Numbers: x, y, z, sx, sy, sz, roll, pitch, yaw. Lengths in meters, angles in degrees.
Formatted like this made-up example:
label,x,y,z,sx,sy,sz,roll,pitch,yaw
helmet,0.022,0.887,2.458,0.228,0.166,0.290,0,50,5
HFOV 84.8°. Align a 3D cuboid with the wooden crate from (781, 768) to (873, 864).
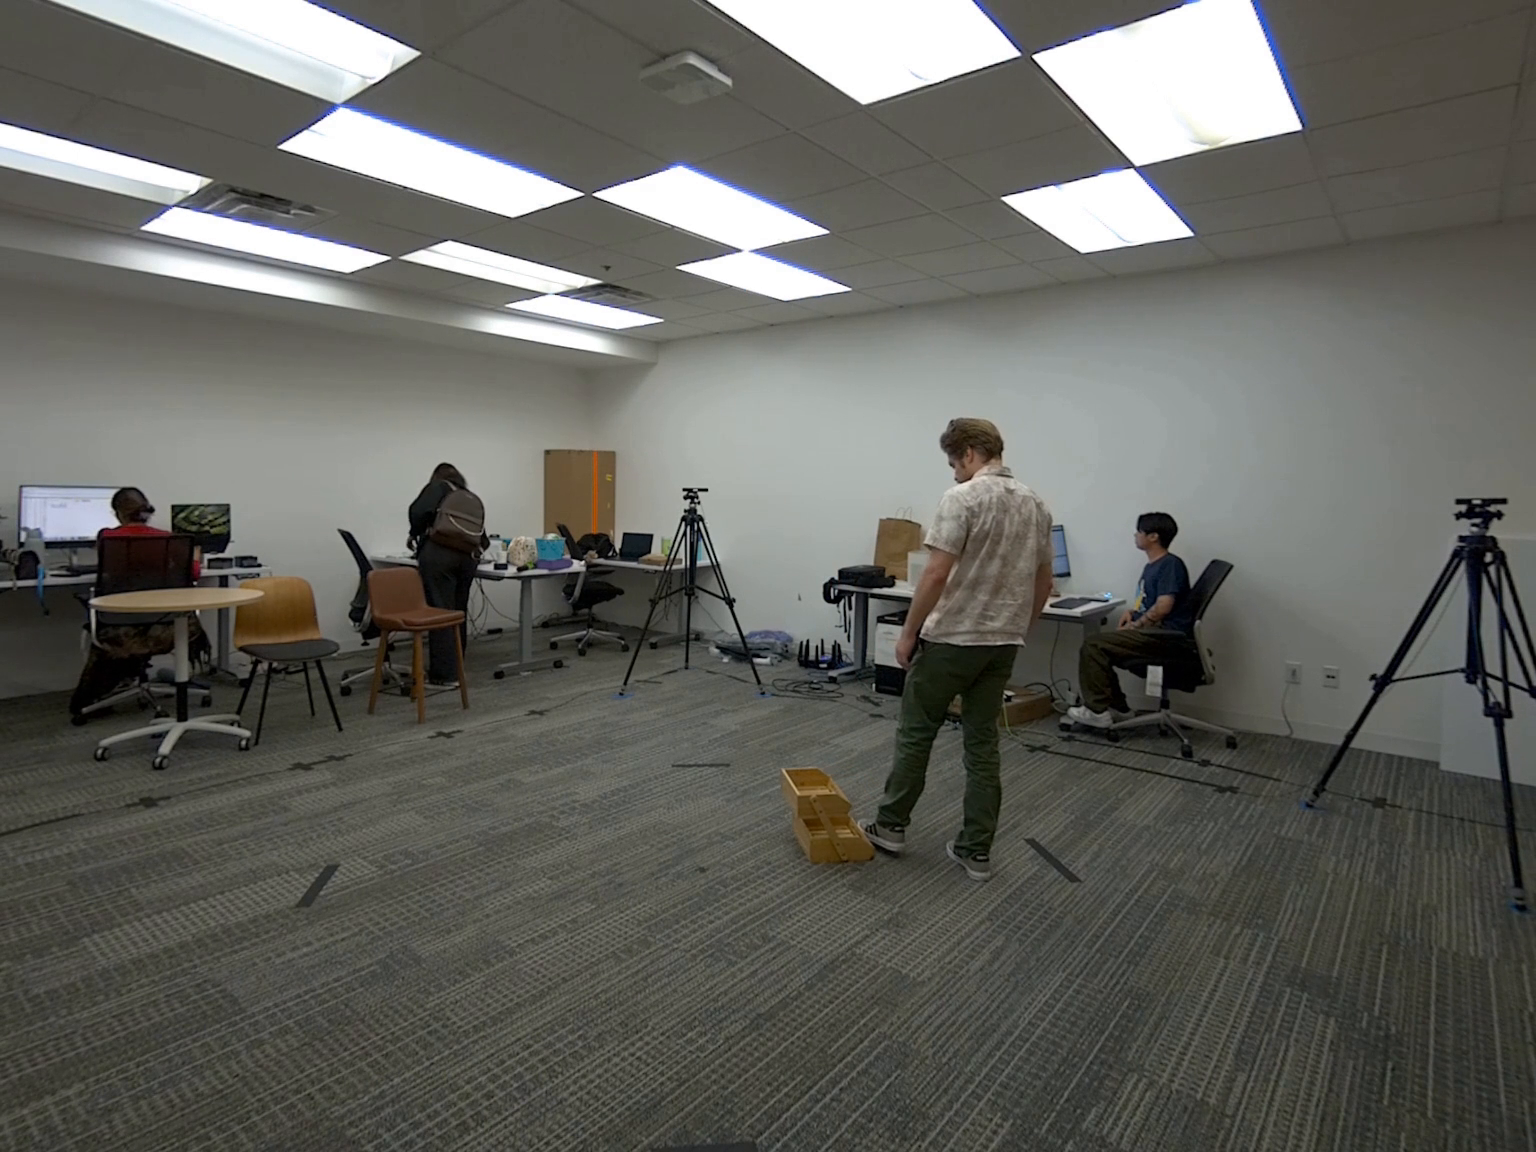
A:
label,x,y,z,sx,sy,sz,roll,pitch,yaw
wooden crate,0.231,0.925,3.343,0.299,0.272,0.329,0,5,-10
